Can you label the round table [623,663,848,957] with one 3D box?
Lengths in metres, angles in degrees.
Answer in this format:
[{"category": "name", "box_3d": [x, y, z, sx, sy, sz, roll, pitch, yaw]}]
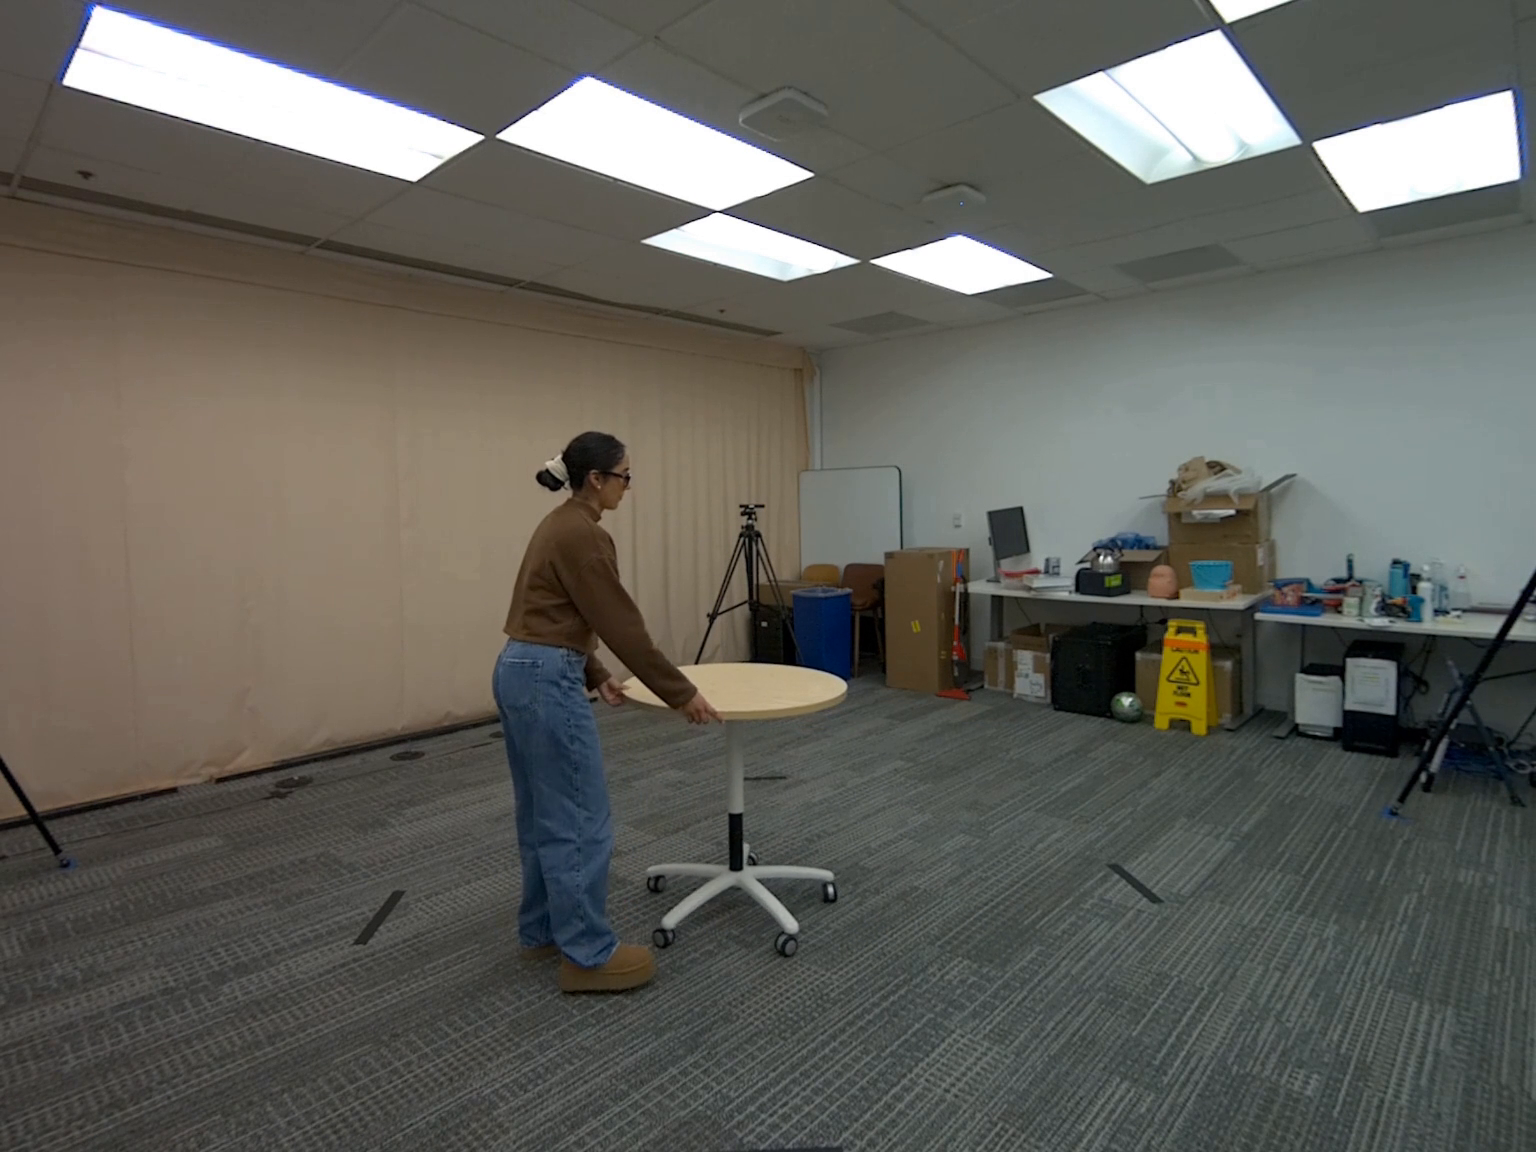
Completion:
[{"category": "round table", "box_3d": [-0.100, 0.757, 2.894, 0.784, 0.784, 0.788, -1, 4, -2]}]
